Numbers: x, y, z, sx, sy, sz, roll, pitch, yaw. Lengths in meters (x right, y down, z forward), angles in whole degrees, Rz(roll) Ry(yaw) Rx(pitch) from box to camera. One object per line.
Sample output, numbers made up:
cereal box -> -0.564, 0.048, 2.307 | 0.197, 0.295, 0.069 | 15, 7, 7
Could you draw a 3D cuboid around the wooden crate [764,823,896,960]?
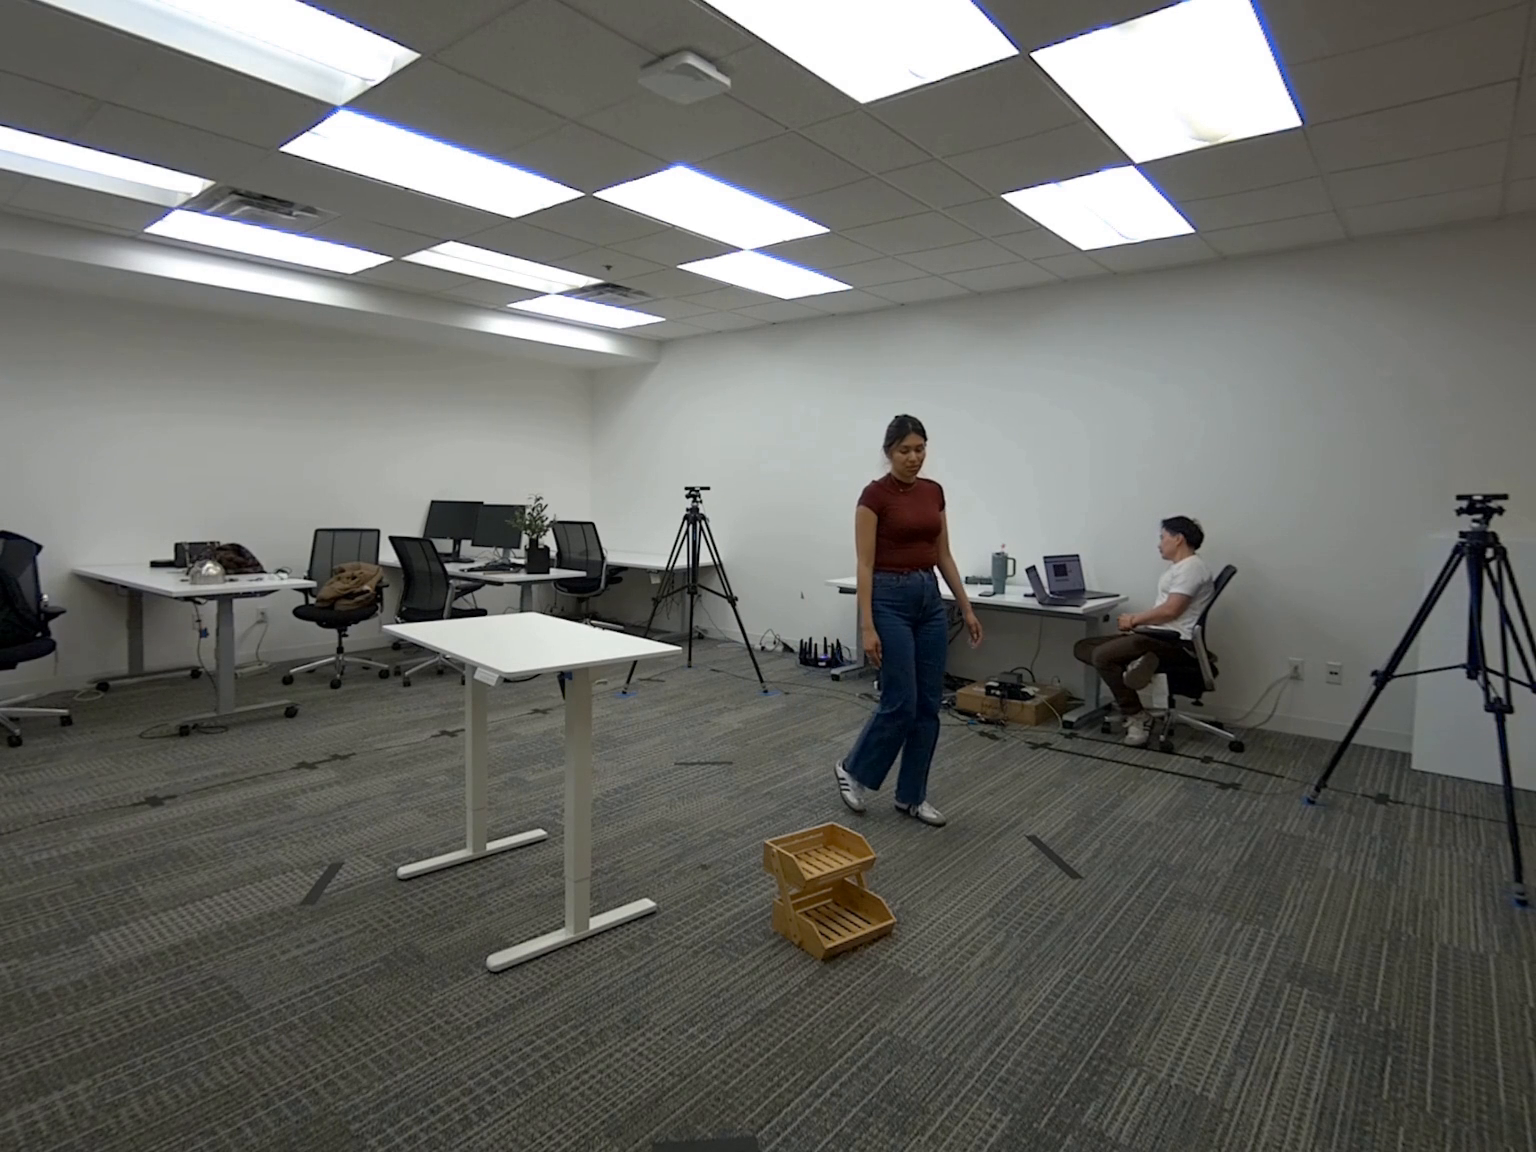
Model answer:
wooden crate -> 0.191, 0.979, 2.692 | 0.315, 0.272, 0.312 | -2, 5, -37
